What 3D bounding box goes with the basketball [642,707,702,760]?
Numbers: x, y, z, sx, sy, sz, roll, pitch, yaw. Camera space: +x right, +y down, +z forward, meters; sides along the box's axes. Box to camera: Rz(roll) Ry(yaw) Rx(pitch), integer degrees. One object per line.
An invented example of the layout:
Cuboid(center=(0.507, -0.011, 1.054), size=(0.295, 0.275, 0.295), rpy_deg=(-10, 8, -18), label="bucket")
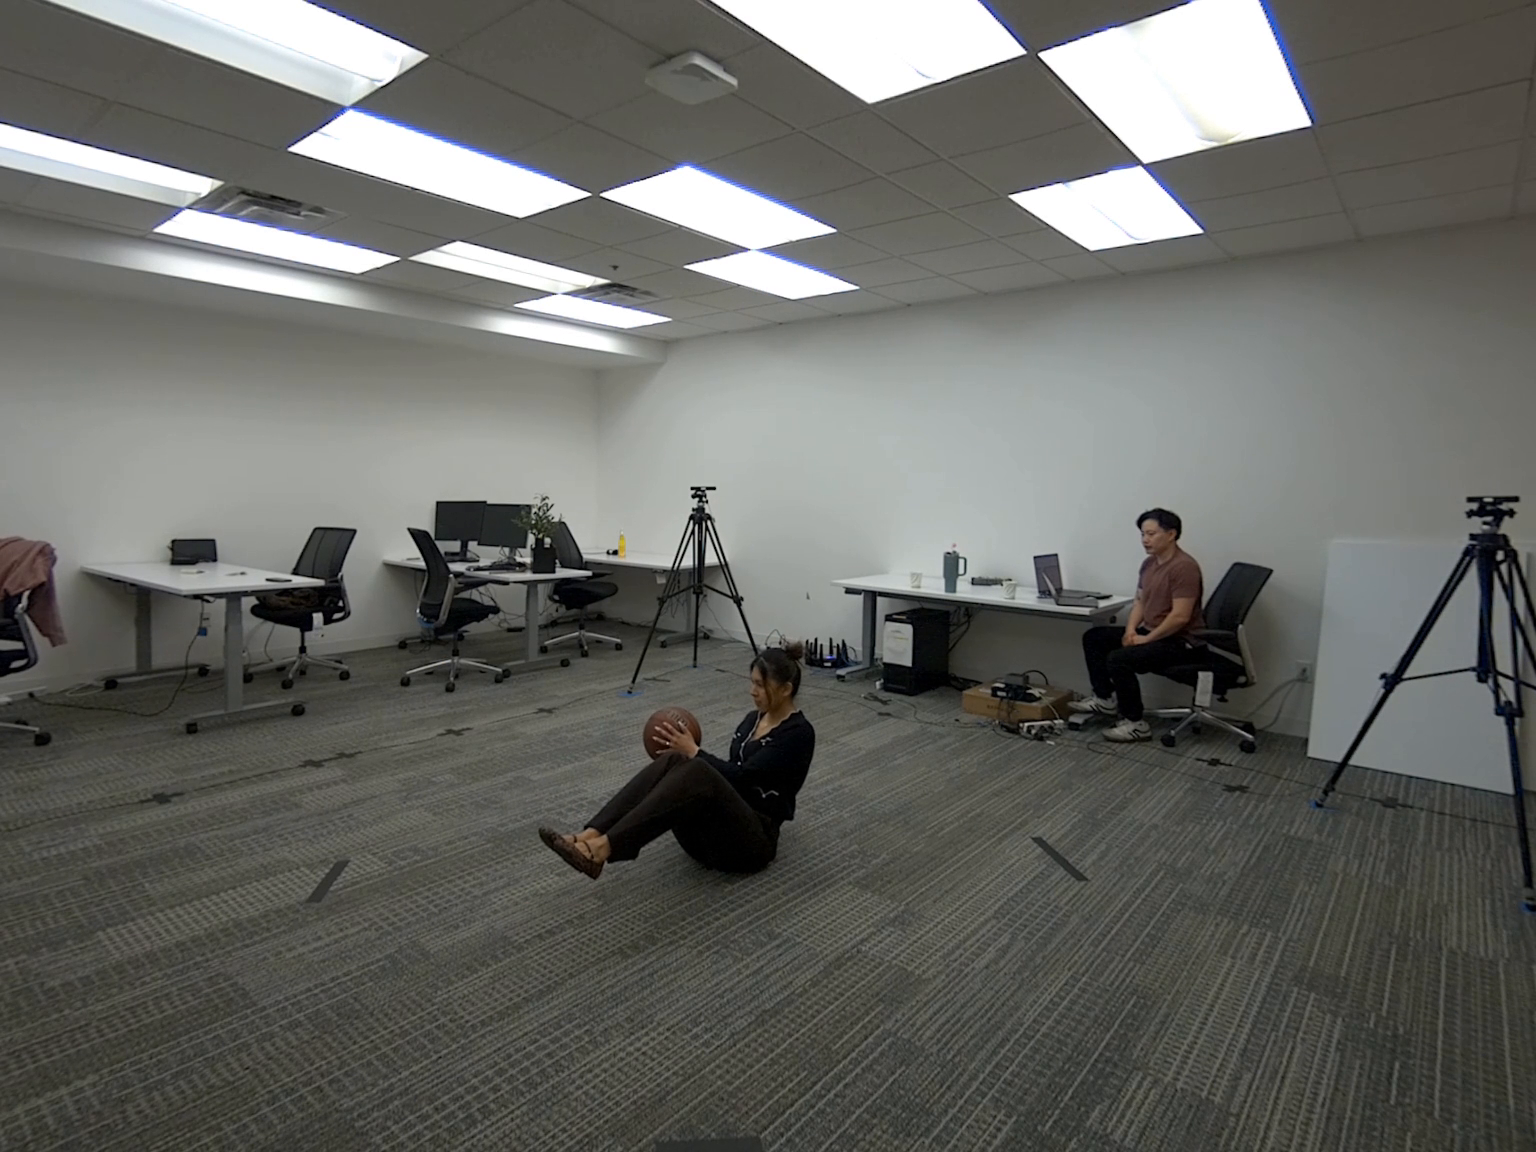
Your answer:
Cuboid(center=(-0.394, 0.645, 3.435), size=(0.235, 0.235, 0.237), rpy_deg=(1, 4, -2), label="basketball")
